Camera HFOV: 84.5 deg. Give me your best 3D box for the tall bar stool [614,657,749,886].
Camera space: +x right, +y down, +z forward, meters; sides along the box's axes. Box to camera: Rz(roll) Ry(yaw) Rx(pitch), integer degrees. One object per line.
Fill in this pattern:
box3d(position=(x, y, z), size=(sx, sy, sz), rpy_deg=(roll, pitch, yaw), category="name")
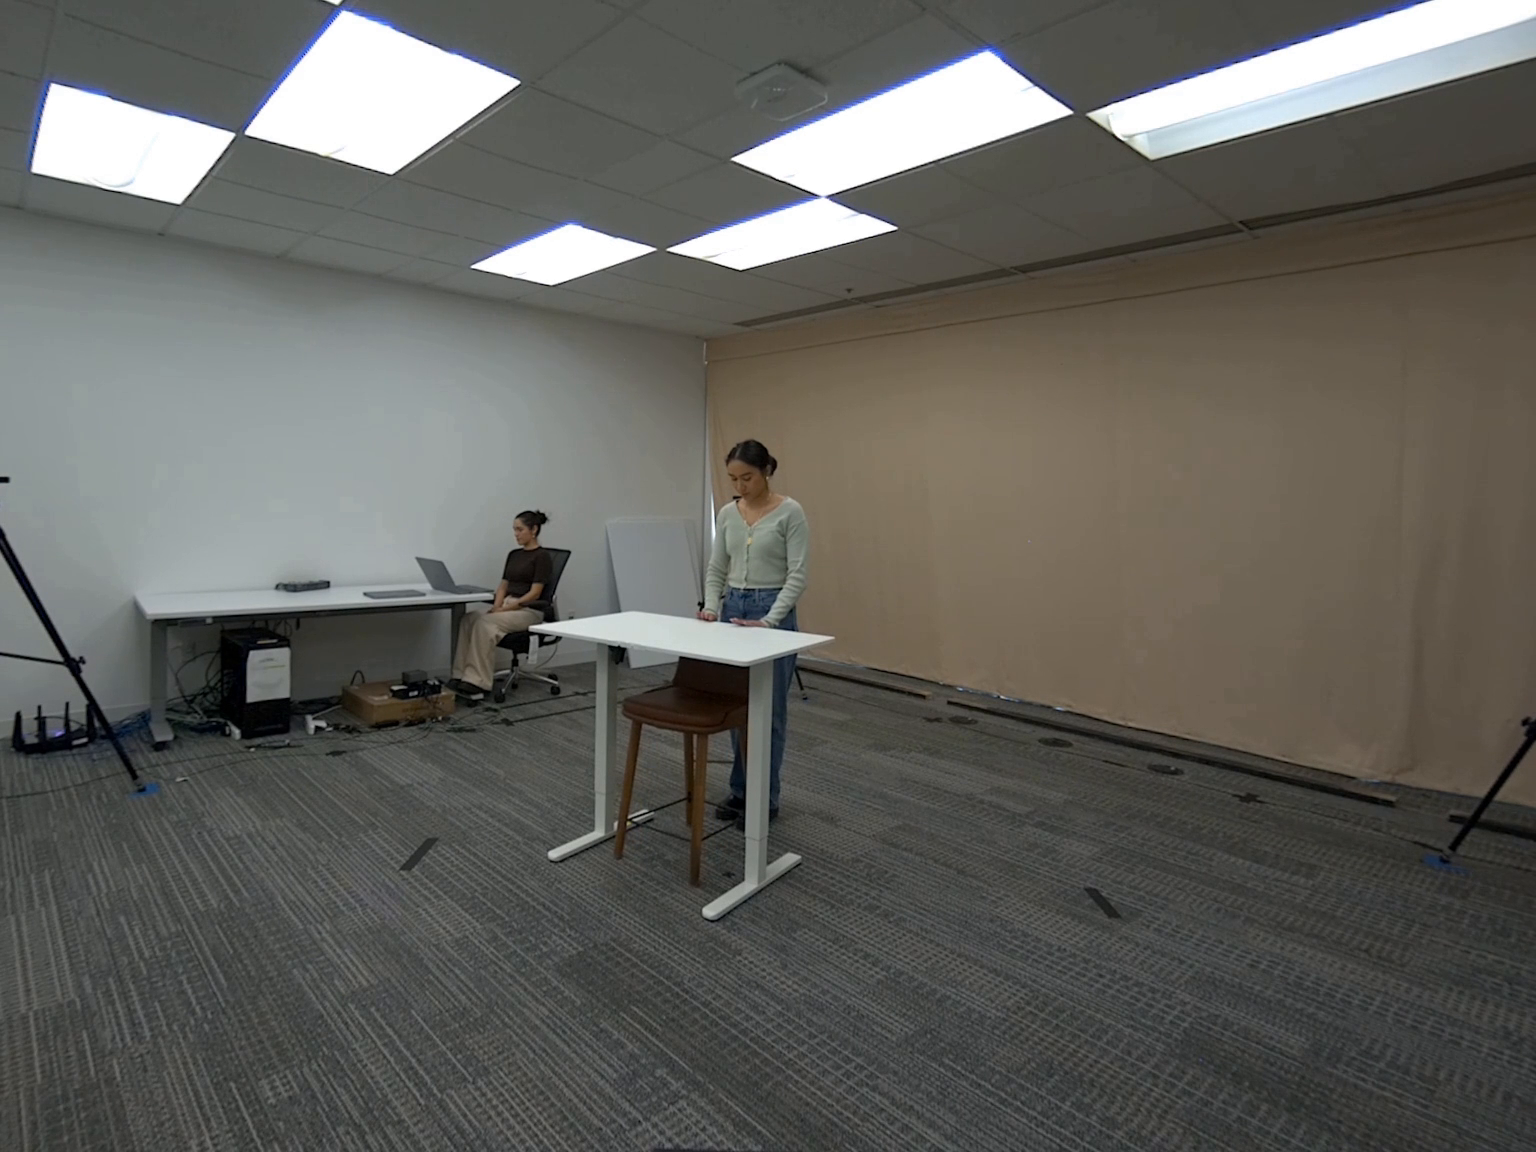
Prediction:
box3d(position=(-0.294, 0.653, 3.276), size=(0.467, 0.889, 0.457), rpy_deg=(3, 2, 35), category="tall bar stool")
